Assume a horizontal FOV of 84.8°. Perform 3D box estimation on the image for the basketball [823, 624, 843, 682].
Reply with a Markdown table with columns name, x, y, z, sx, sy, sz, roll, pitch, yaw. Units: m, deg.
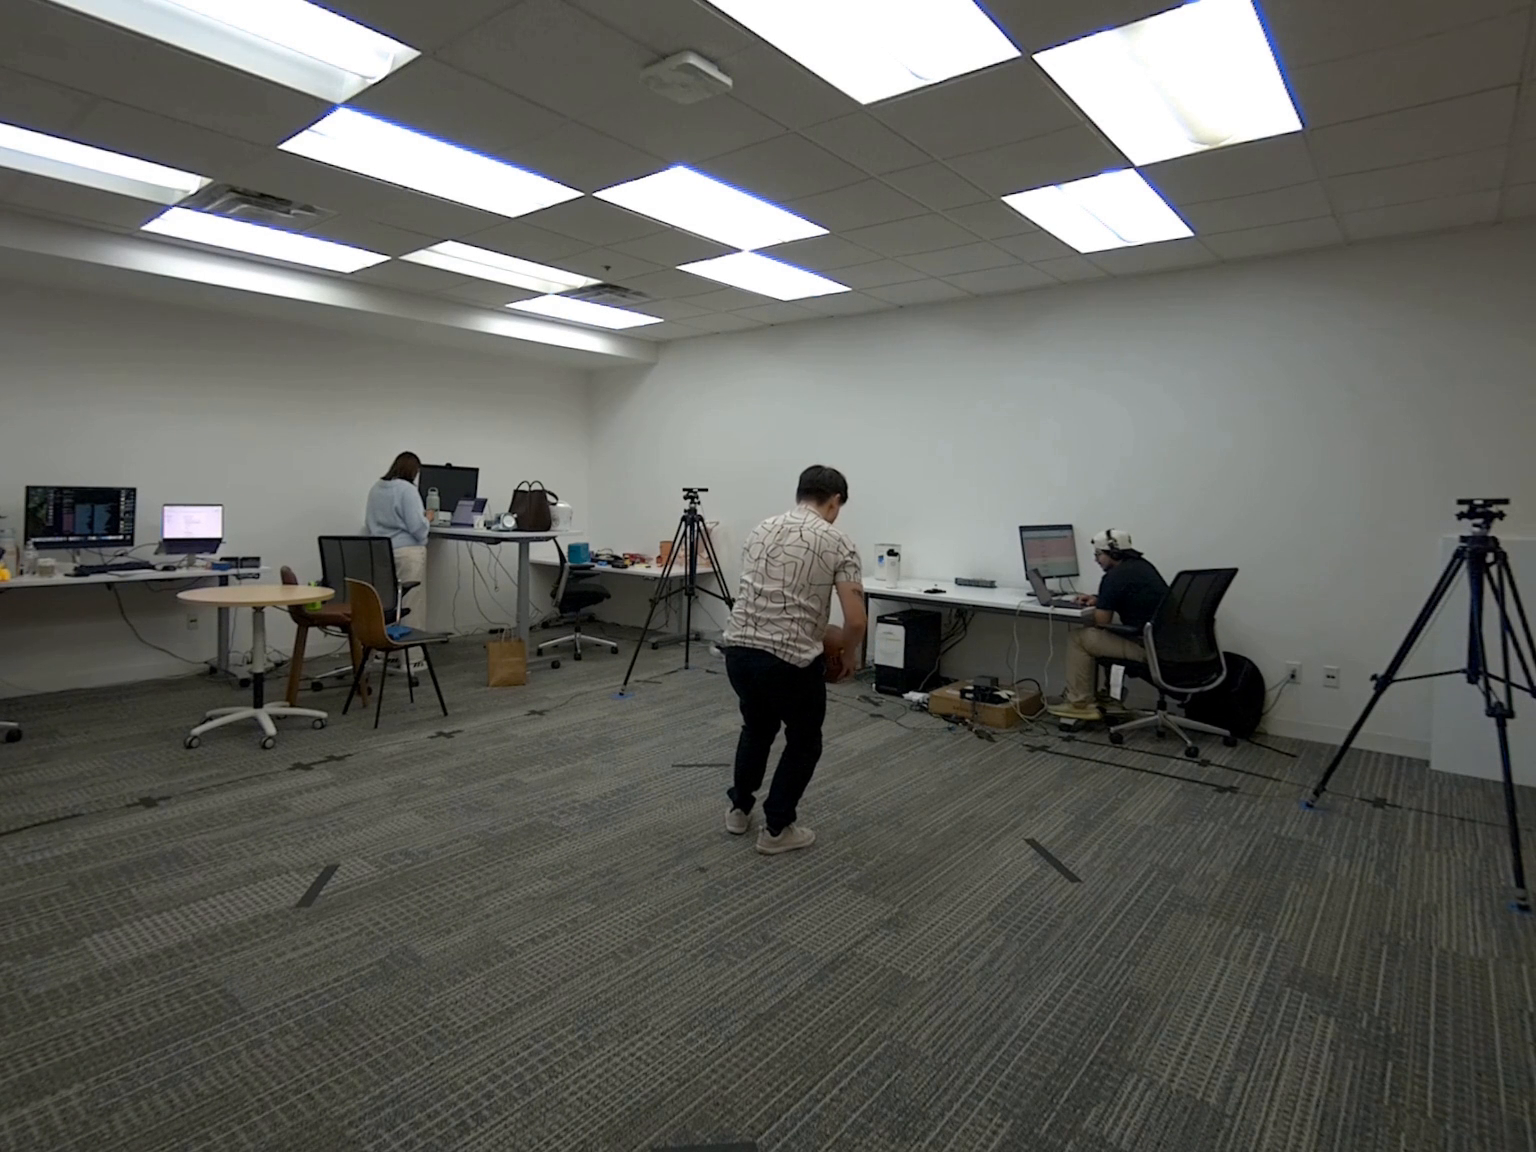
| name | x | y | z | sx | sy | sz | roll | pitch | yaw |
| --- | --- | --- | --- | --- | --- | --- | --- | --- | --- |
| basketball | 0.229 | 0.305 | 3.447 | 0.235 | 0.235 | 0.237 | 1 | 4 | -2 |
